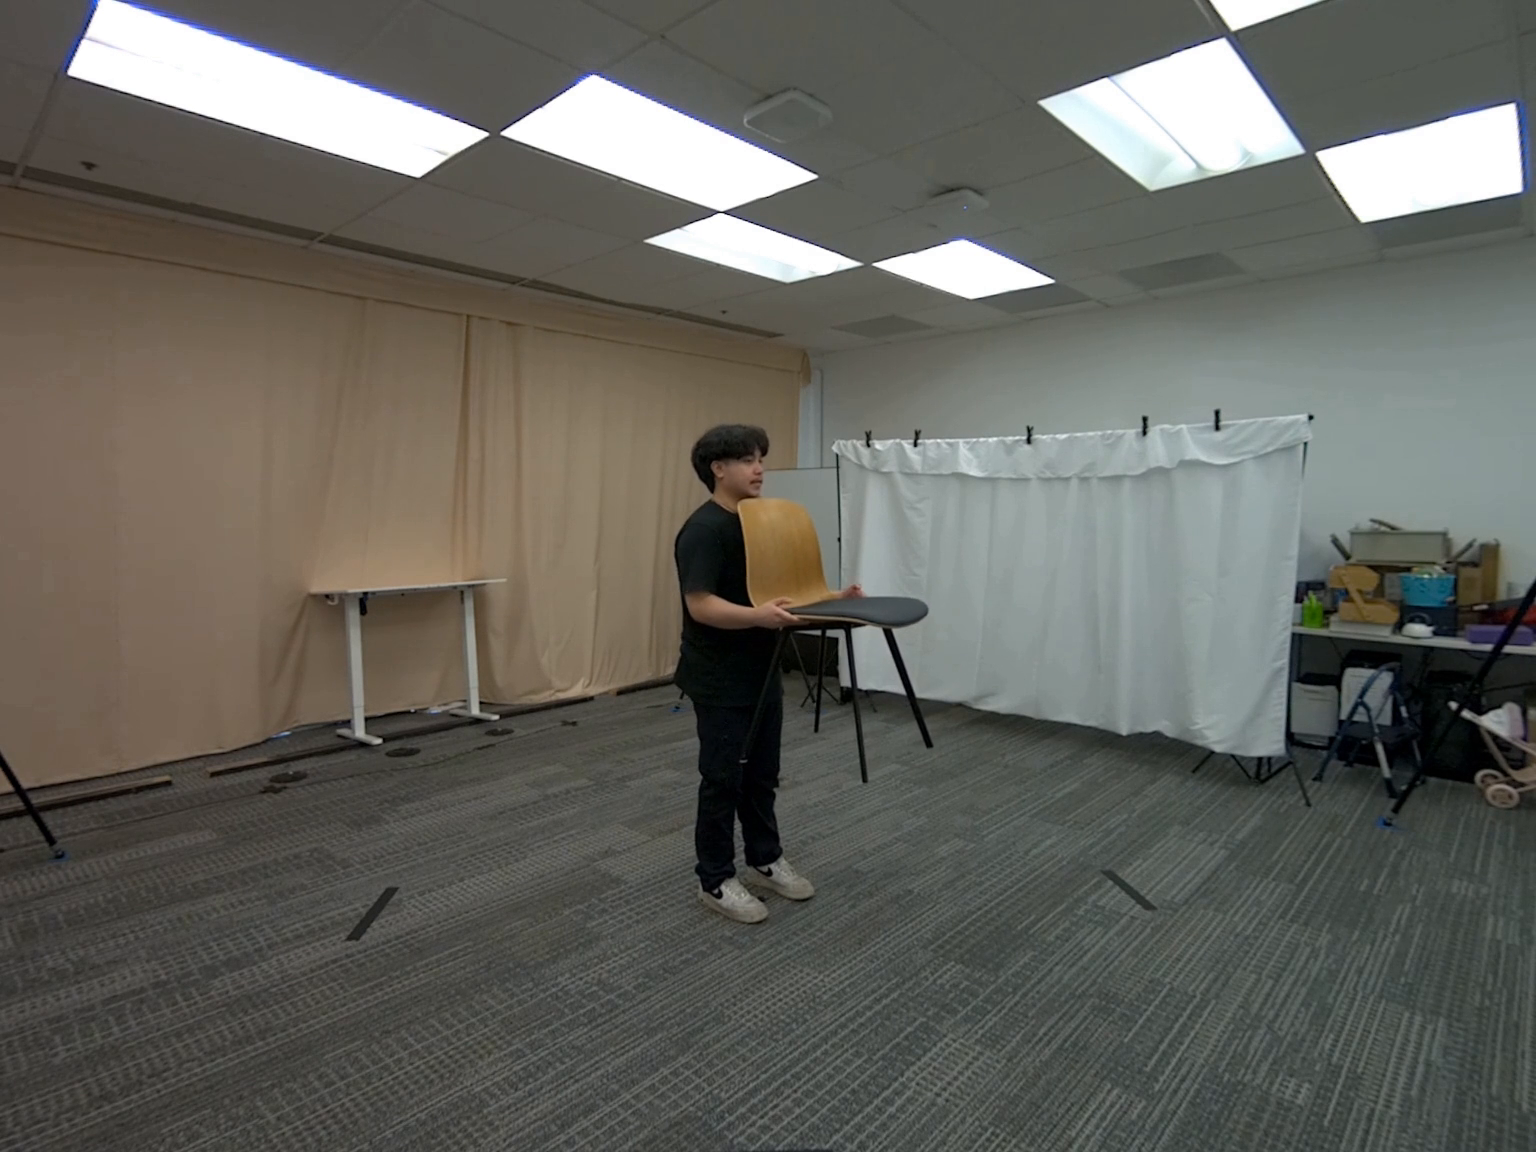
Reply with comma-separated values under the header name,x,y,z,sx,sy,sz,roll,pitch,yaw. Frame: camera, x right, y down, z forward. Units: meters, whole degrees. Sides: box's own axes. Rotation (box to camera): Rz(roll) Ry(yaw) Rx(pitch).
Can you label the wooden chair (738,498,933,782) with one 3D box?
name,x,y,z,sx,sy,sz,roll,pitch,yaw
wooden chair,0.223,0.161,2.713,0.538,0.878,0.464,-6,-1,37
